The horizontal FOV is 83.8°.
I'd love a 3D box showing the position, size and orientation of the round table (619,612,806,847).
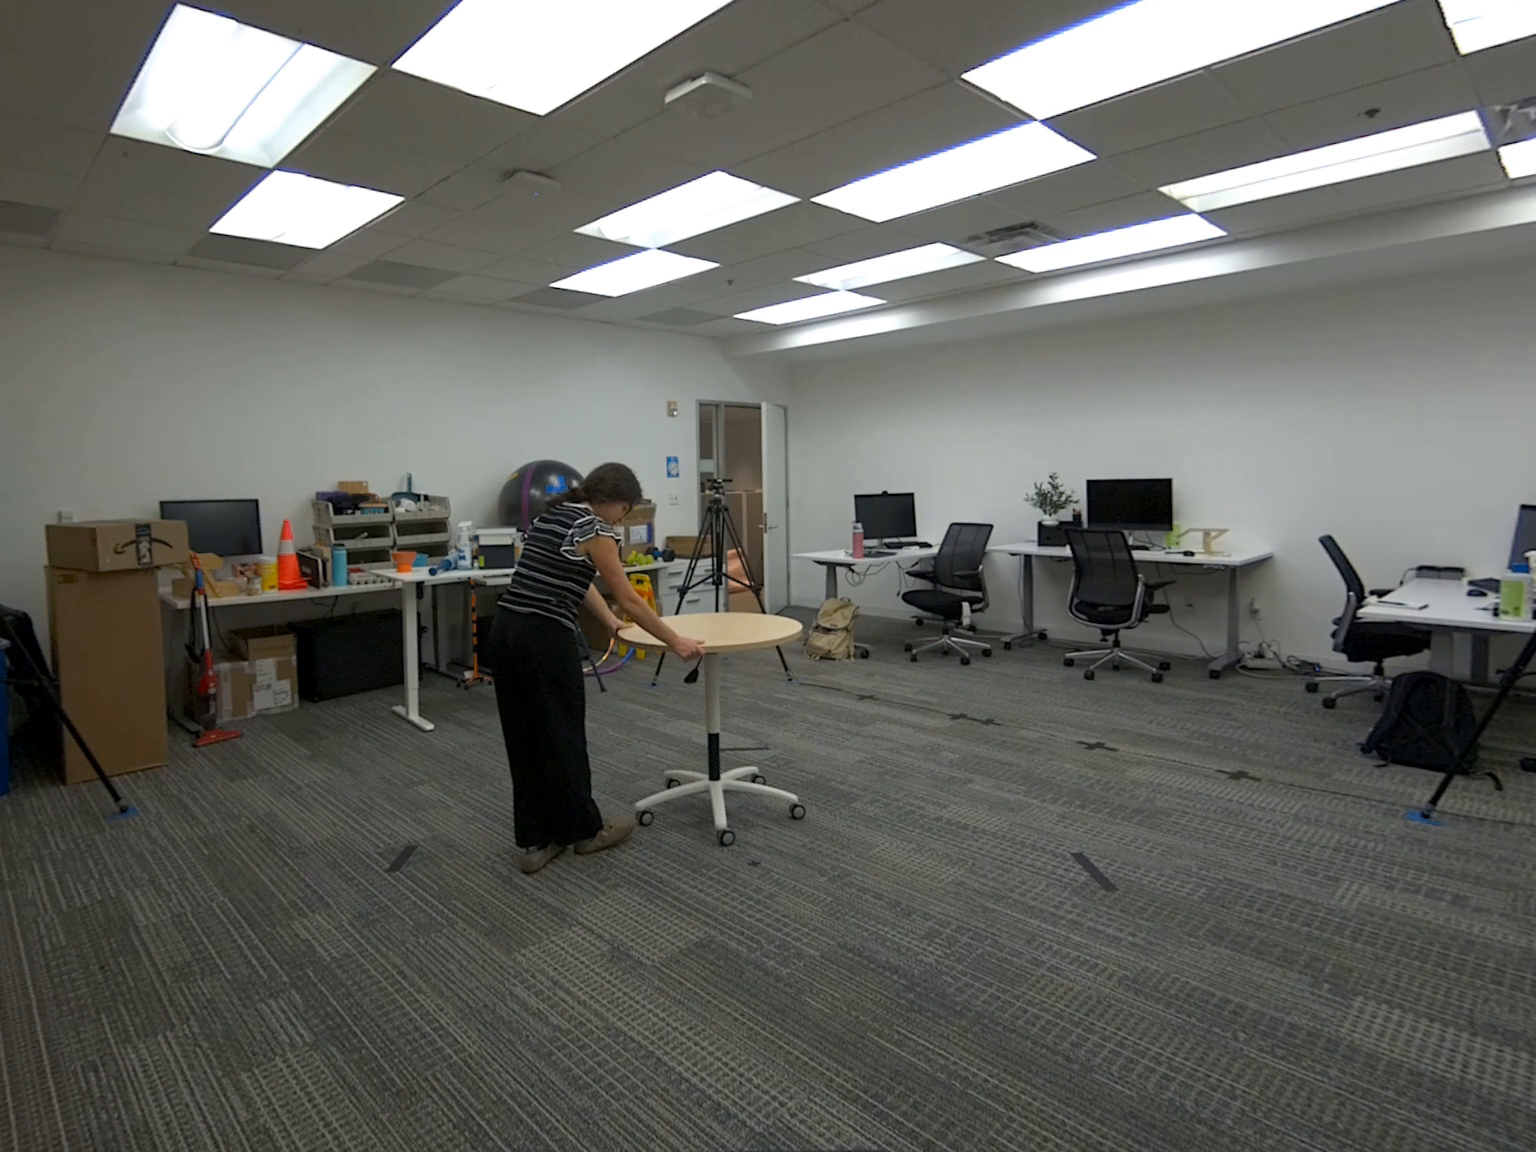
[{"bbox_3d":[-0.220,0.607,3.575,0.763,0.791,0.768,-2,5,-2],"label":"round table"}]
